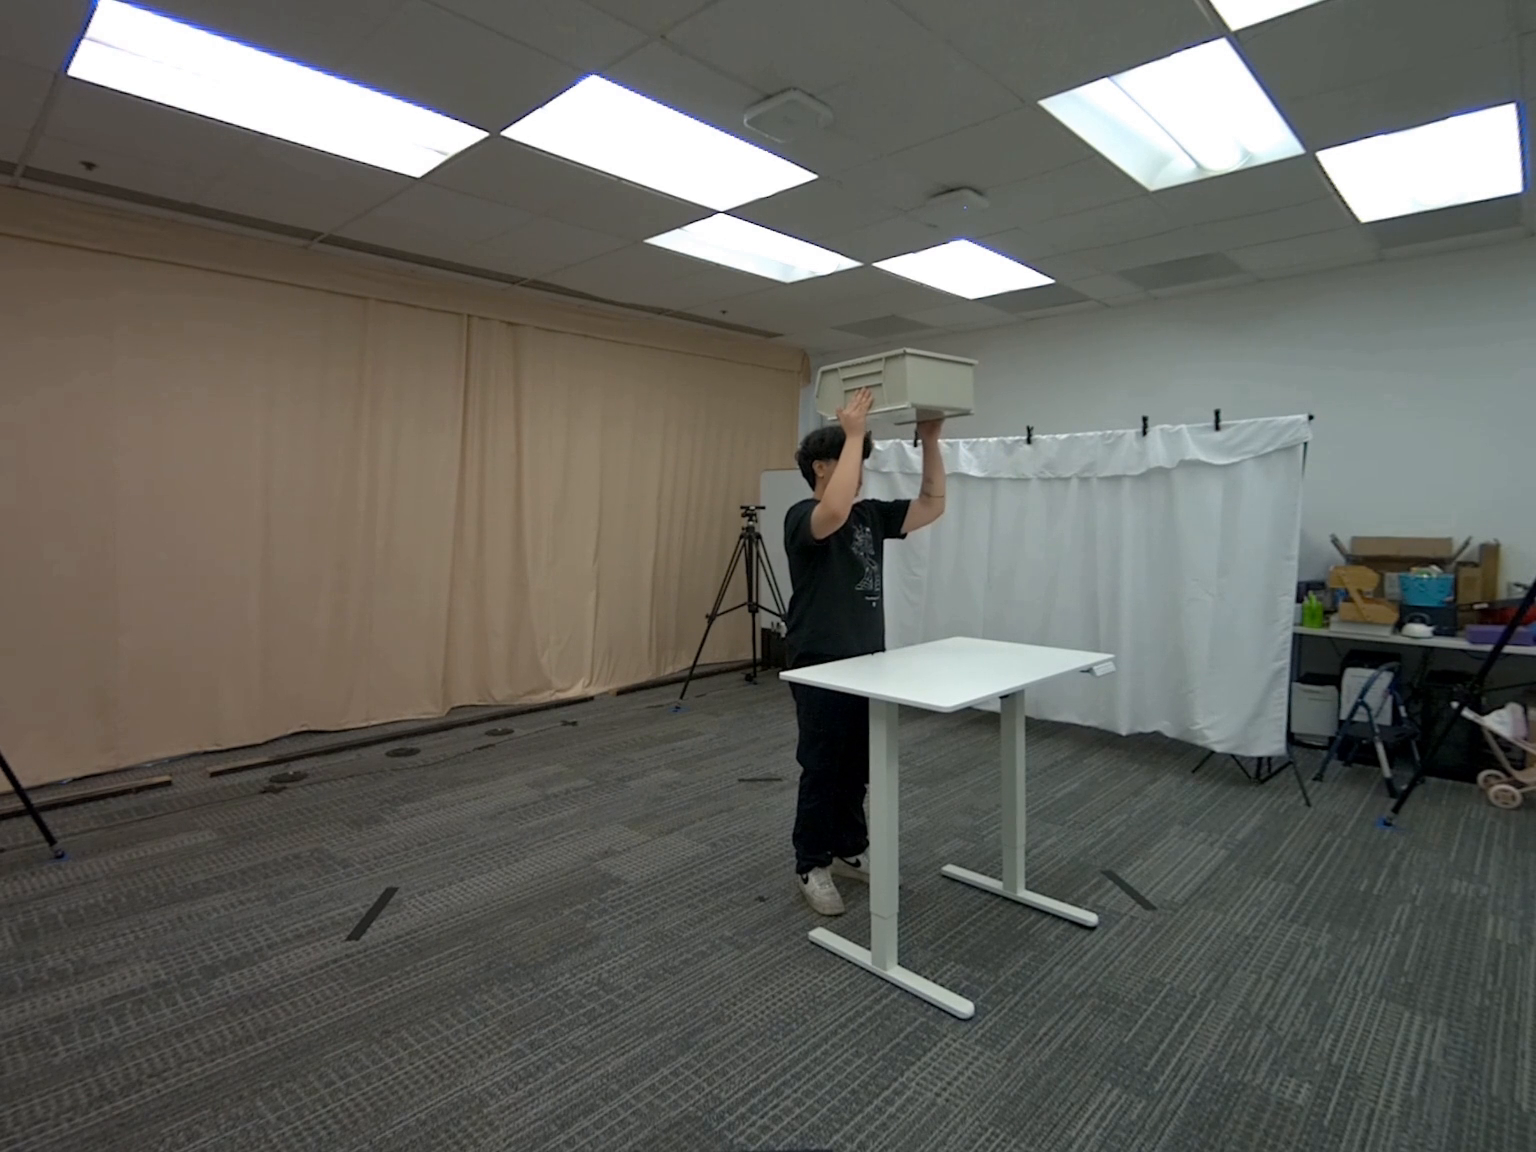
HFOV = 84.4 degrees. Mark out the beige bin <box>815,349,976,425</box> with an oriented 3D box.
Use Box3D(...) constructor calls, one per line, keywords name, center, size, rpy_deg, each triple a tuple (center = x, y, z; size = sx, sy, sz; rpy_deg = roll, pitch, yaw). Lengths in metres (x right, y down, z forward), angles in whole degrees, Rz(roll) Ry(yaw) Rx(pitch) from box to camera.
Box3D(name="beige bin", center=(0.434, -0.620, 2.838), size=(0.409, 0.188, 0.389), rpy_deg=(-6, 5, -45))
